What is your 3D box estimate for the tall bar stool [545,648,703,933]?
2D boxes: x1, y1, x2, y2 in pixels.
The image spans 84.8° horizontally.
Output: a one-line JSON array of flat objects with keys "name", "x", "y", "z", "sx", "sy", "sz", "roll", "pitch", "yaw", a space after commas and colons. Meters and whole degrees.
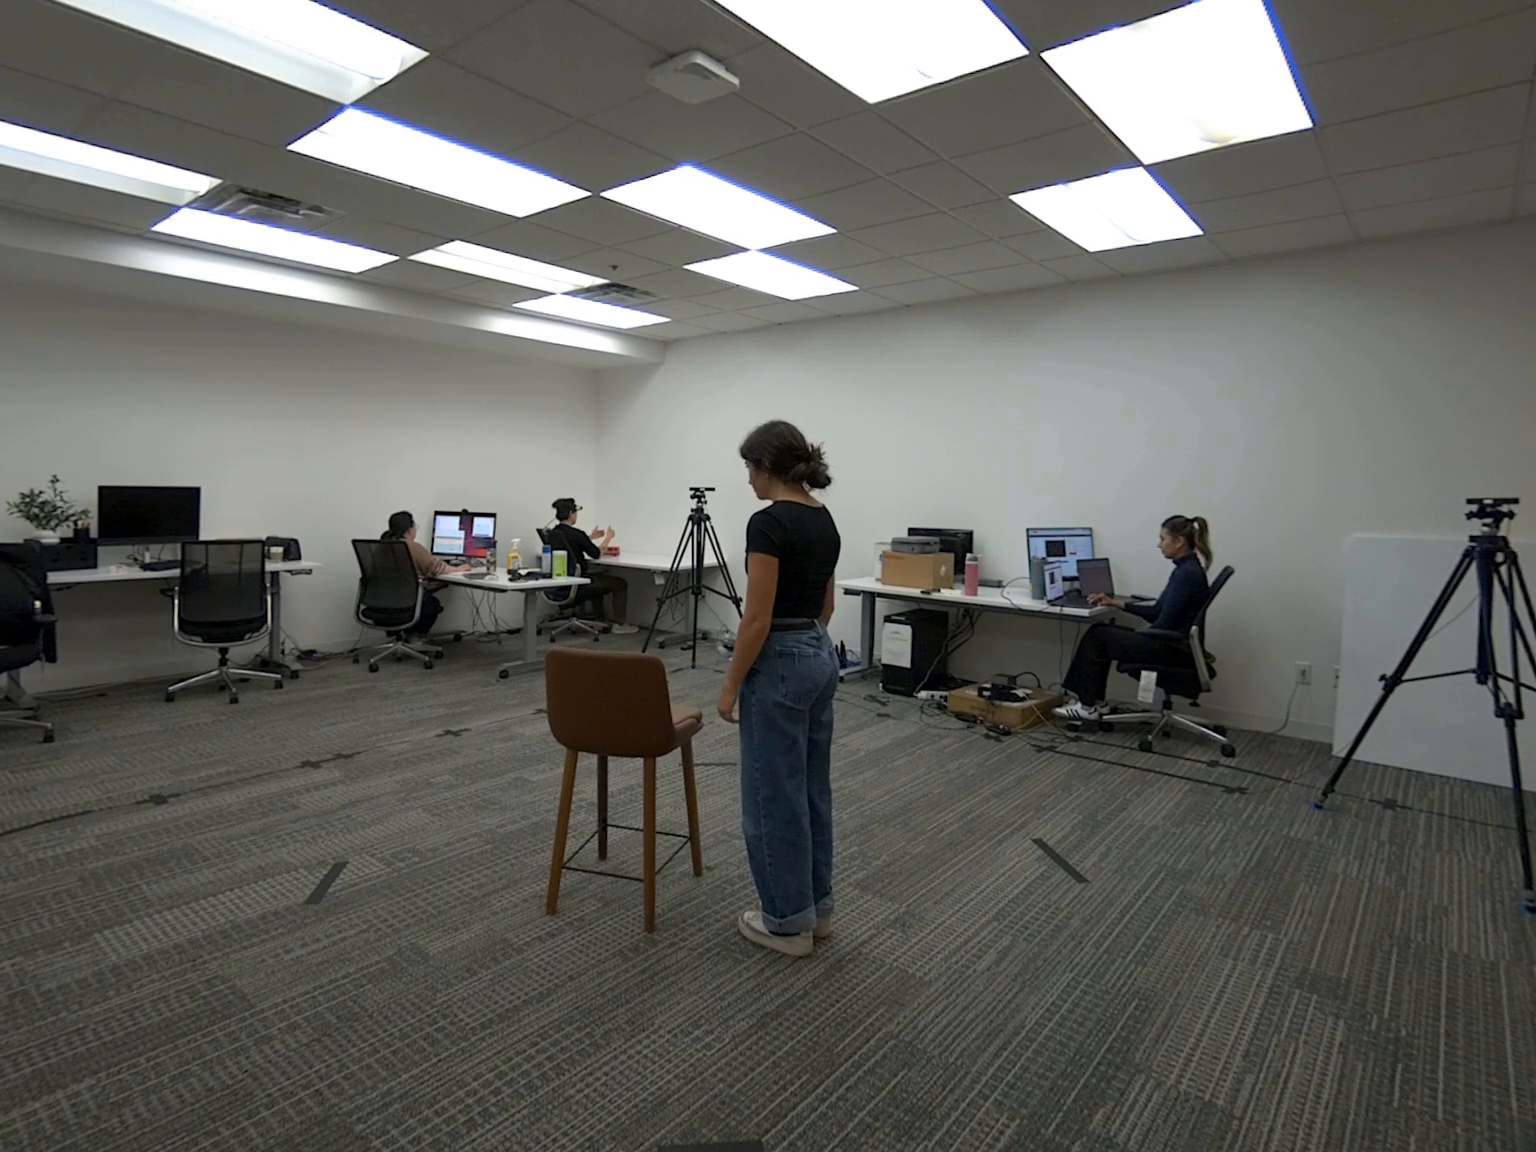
[{"name": "tall bar stool", "x": -0.495, "y": 0.649, "z": 2.889, "sx": 0.465, "sy": 0.886, "sz": 0.460, "roll": 1, "pitch": 4, "yaw": 17}]
